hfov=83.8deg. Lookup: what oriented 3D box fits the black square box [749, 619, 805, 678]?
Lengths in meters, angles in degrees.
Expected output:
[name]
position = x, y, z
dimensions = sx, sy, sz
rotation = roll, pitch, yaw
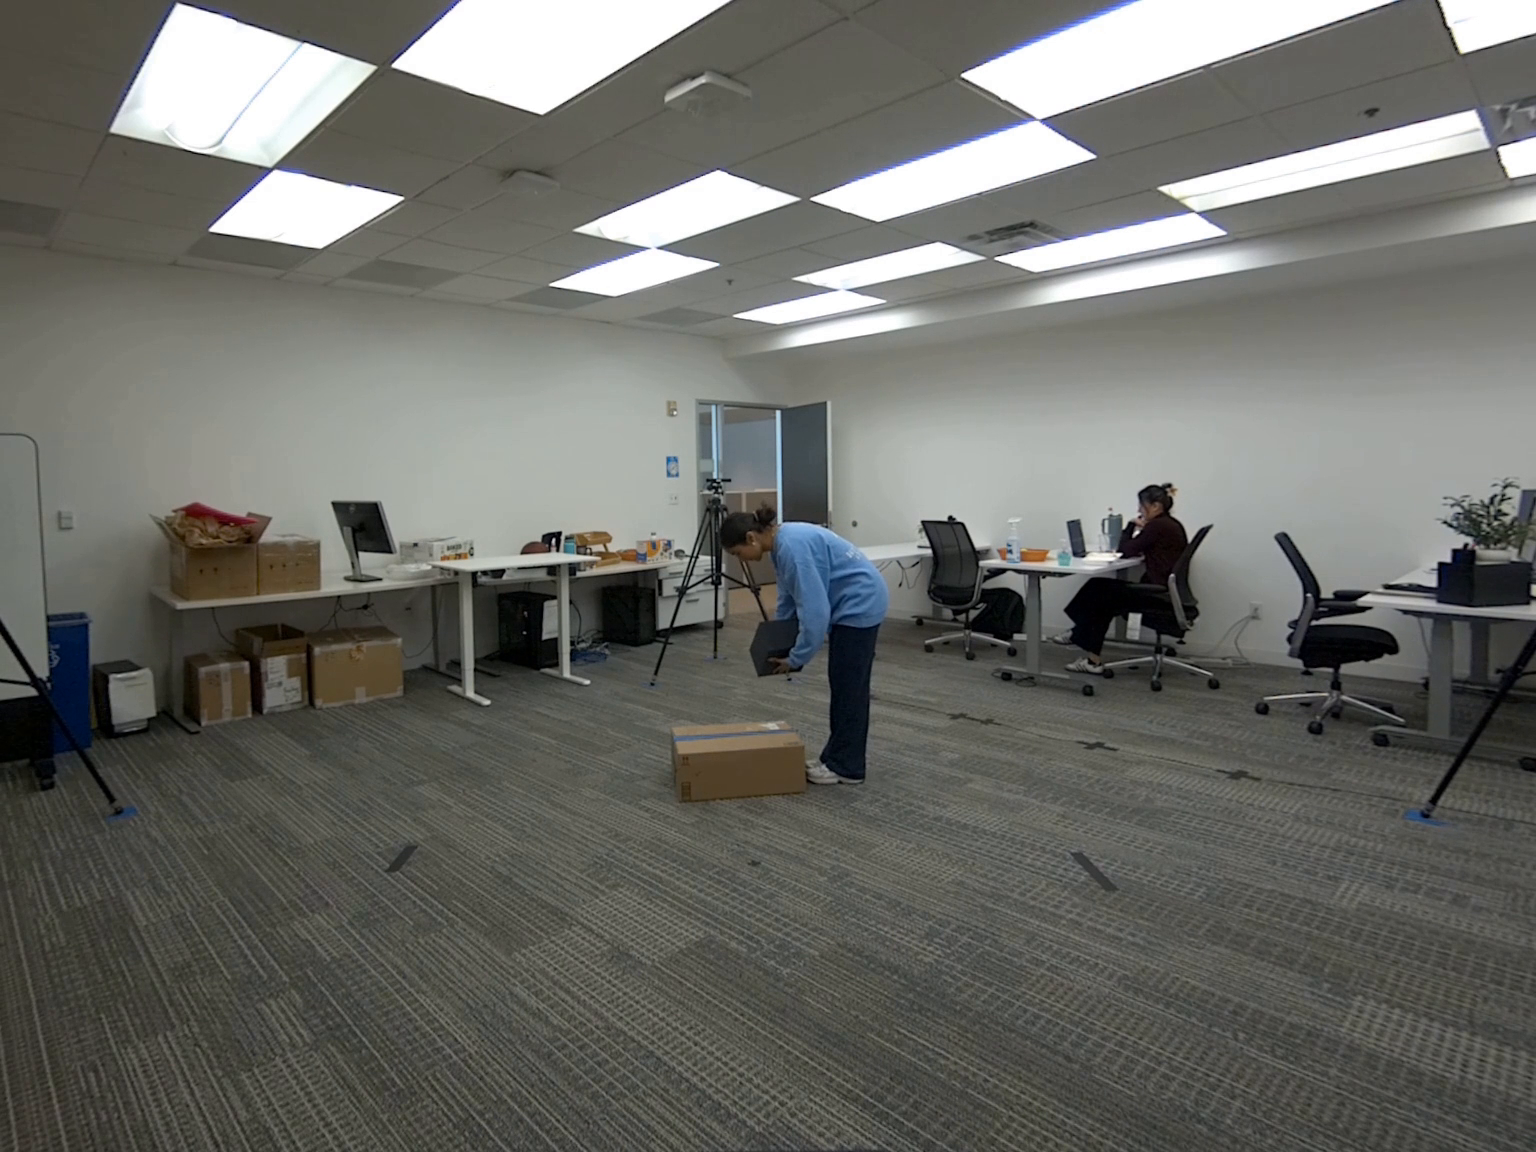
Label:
[black square box]
position = 0.057, 0.326, 3.931
dimensions = 0.214, 0.161, 0.224
rotation = -3, -39, -17
